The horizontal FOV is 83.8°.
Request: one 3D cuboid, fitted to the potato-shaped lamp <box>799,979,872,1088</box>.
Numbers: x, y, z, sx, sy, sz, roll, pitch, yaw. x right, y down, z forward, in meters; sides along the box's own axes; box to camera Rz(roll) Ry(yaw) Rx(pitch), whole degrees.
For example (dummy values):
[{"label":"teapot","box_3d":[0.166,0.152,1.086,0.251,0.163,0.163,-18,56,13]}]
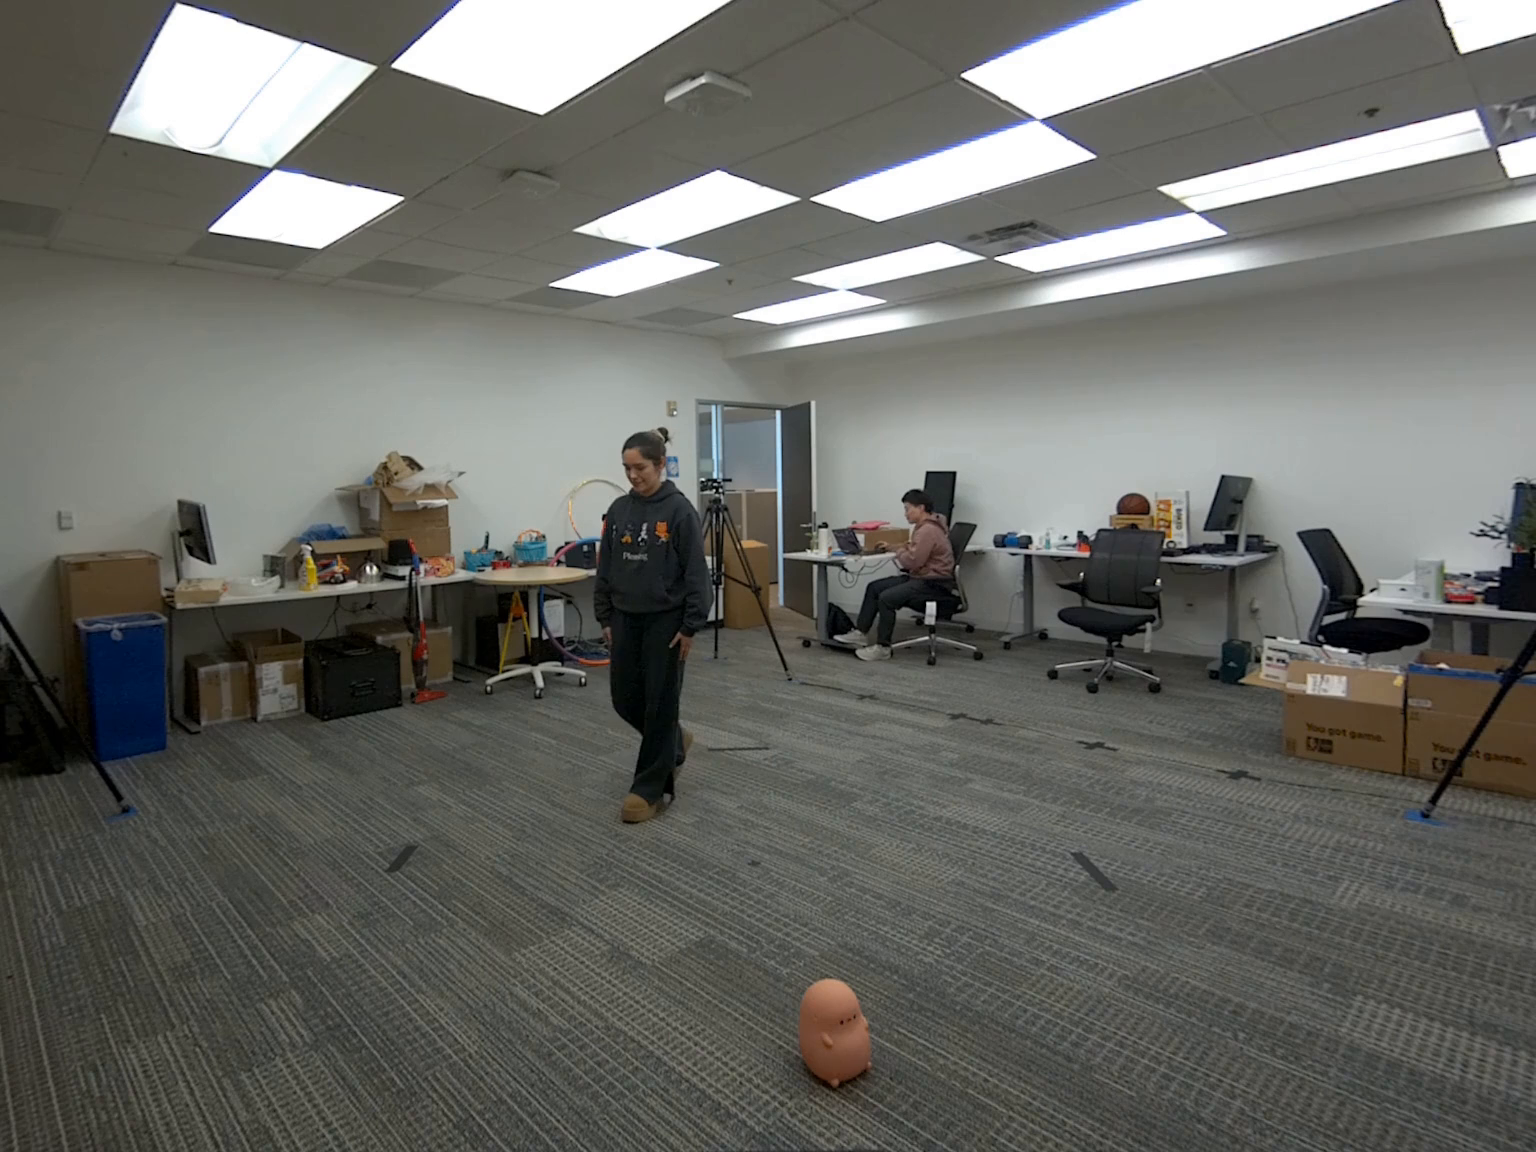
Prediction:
[{"label":"potato-shaped lamp","box_3d":[0.163,1.067,2.018,0.160,0.197,0.176,-6,4,-42]}]
